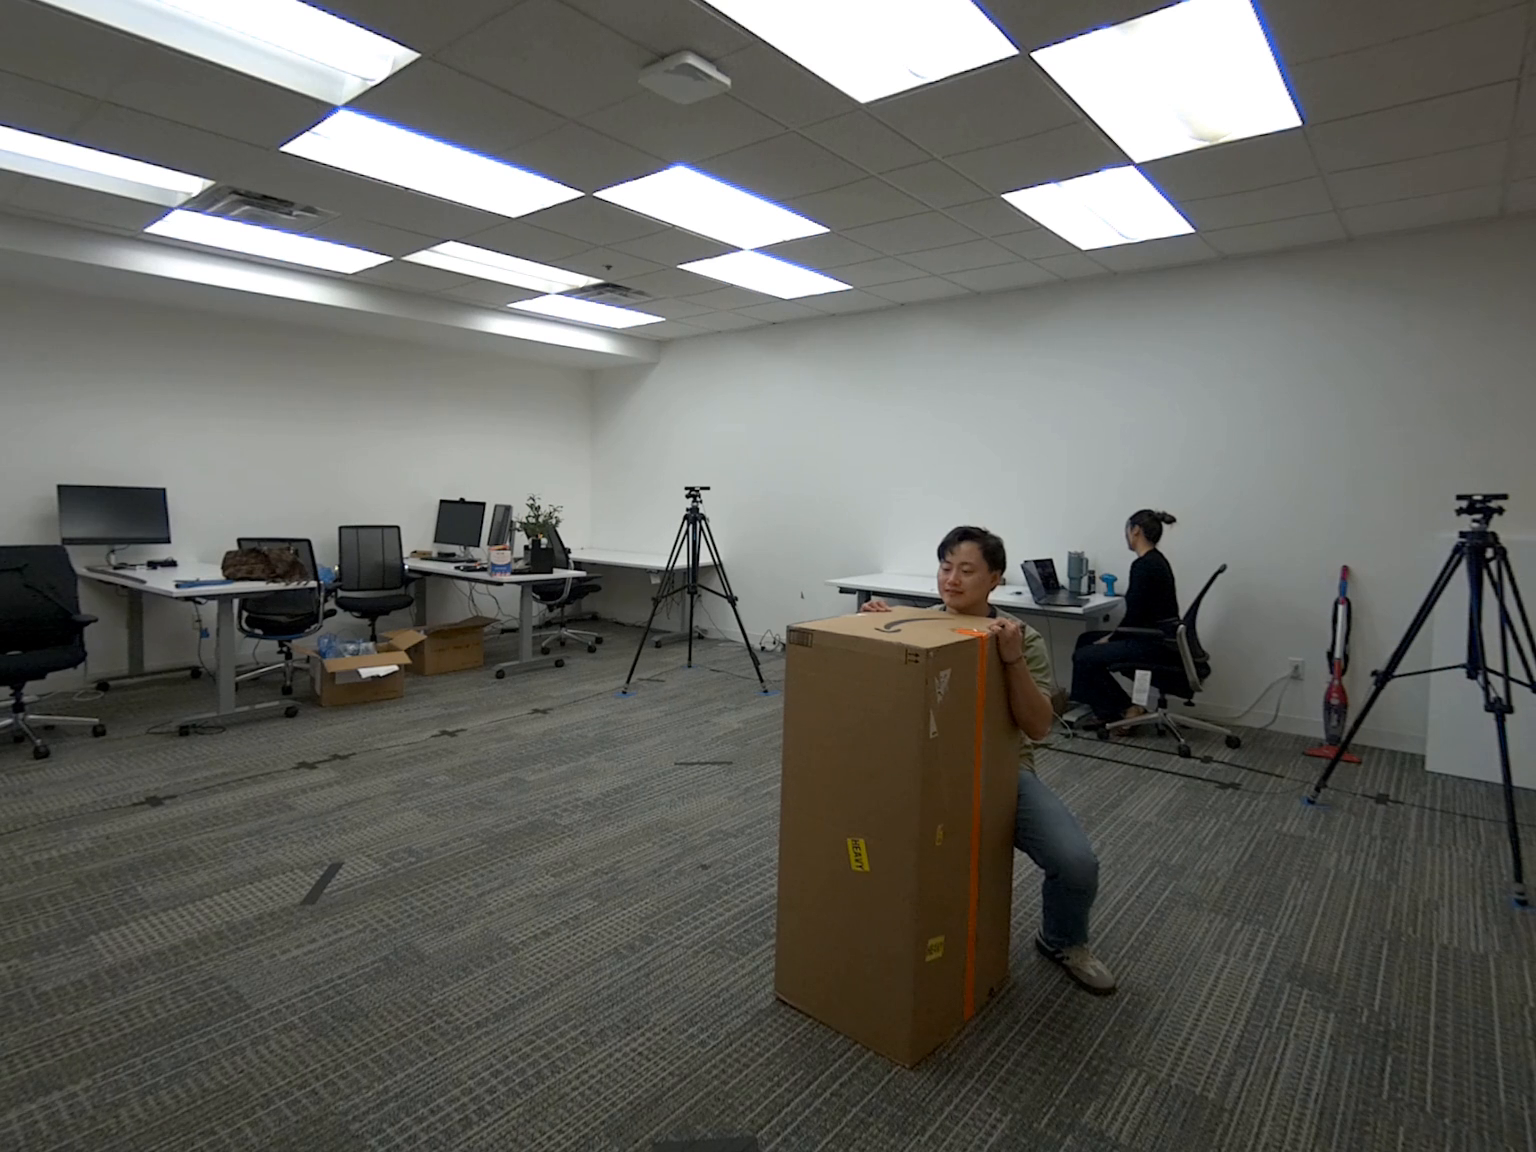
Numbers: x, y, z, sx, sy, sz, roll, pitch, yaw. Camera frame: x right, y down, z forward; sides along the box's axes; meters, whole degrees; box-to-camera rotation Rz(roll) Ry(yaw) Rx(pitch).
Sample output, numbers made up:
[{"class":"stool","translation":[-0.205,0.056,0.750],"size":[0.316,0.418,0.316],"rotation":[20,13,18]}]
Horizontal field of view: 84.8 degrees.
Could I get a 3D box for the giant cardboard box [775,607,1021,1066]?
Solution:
[{"class":"giant cardboard box","translation":[0.366,0.638,2.359],"size":[0.441,1.022,0.560],"rotation":[5,6,40]}]
